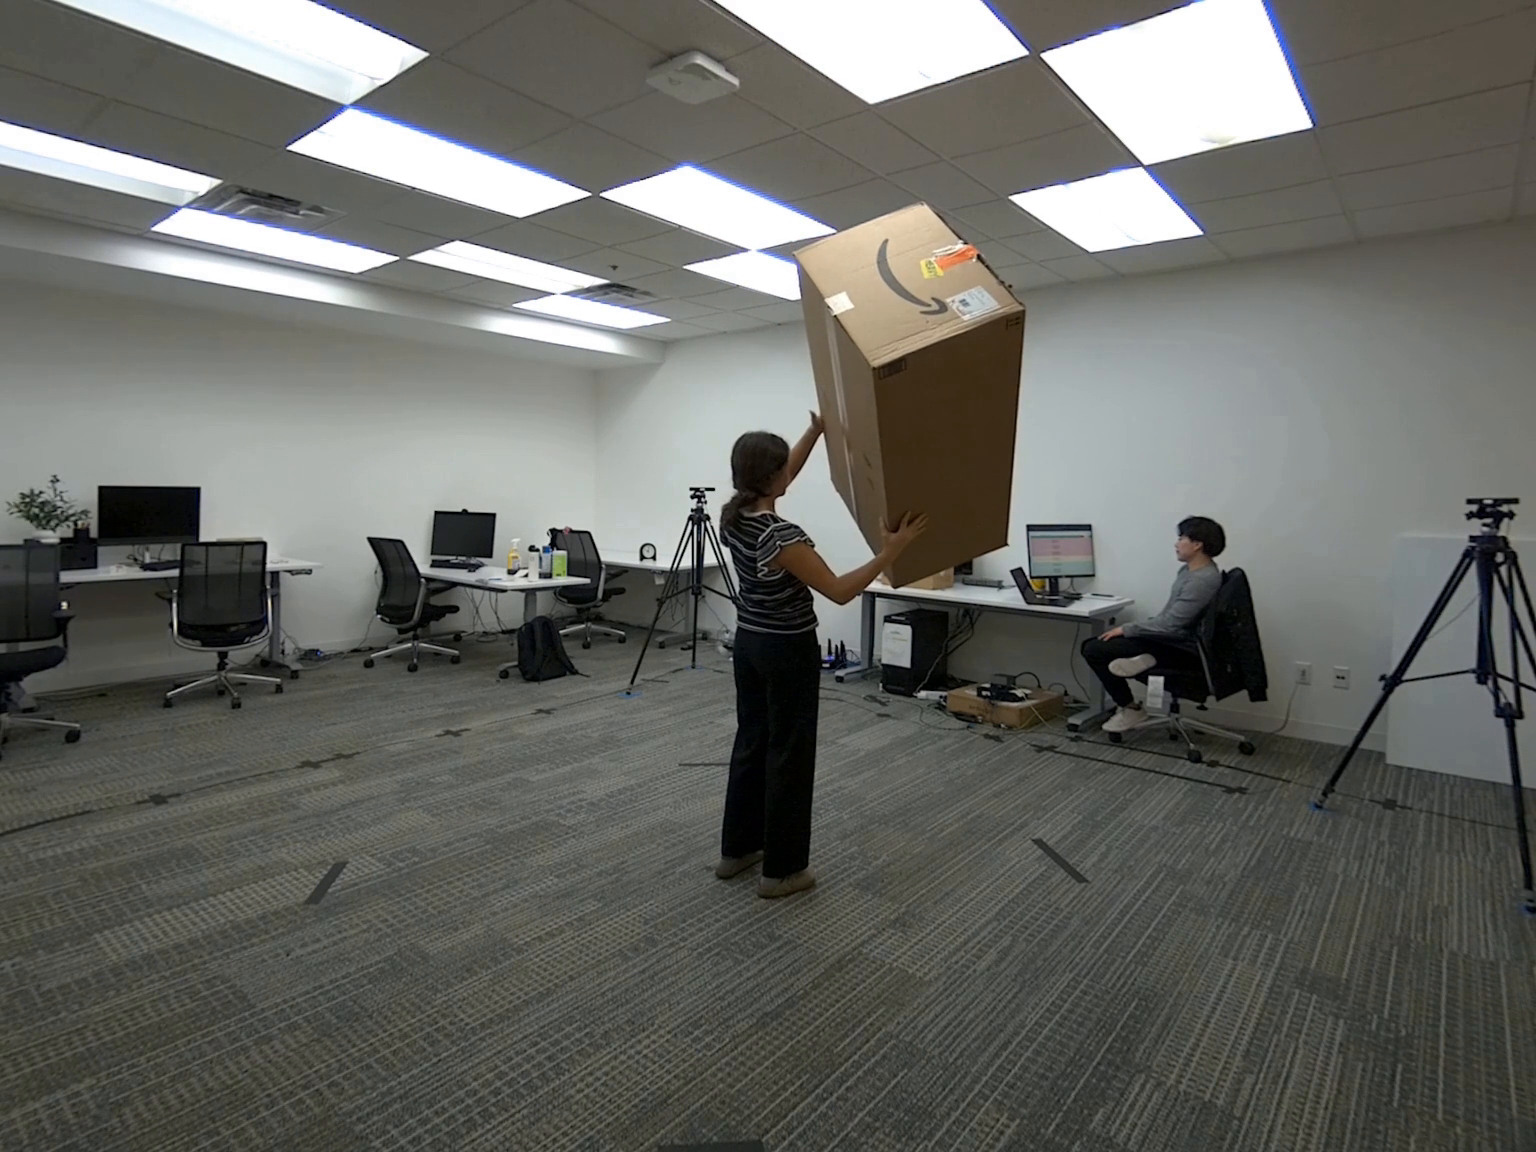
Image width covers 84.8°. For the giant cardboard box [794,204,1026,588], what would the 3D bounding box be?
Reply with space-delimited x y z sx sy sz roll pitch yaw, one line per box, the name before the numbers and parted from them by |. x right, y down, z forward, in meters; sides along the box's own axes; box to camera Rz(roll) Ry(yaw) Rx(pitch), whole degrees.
giant cardboard box | 0.434 -0.526 2.704 0.425 0.600 0.988 -22 -38 -3
